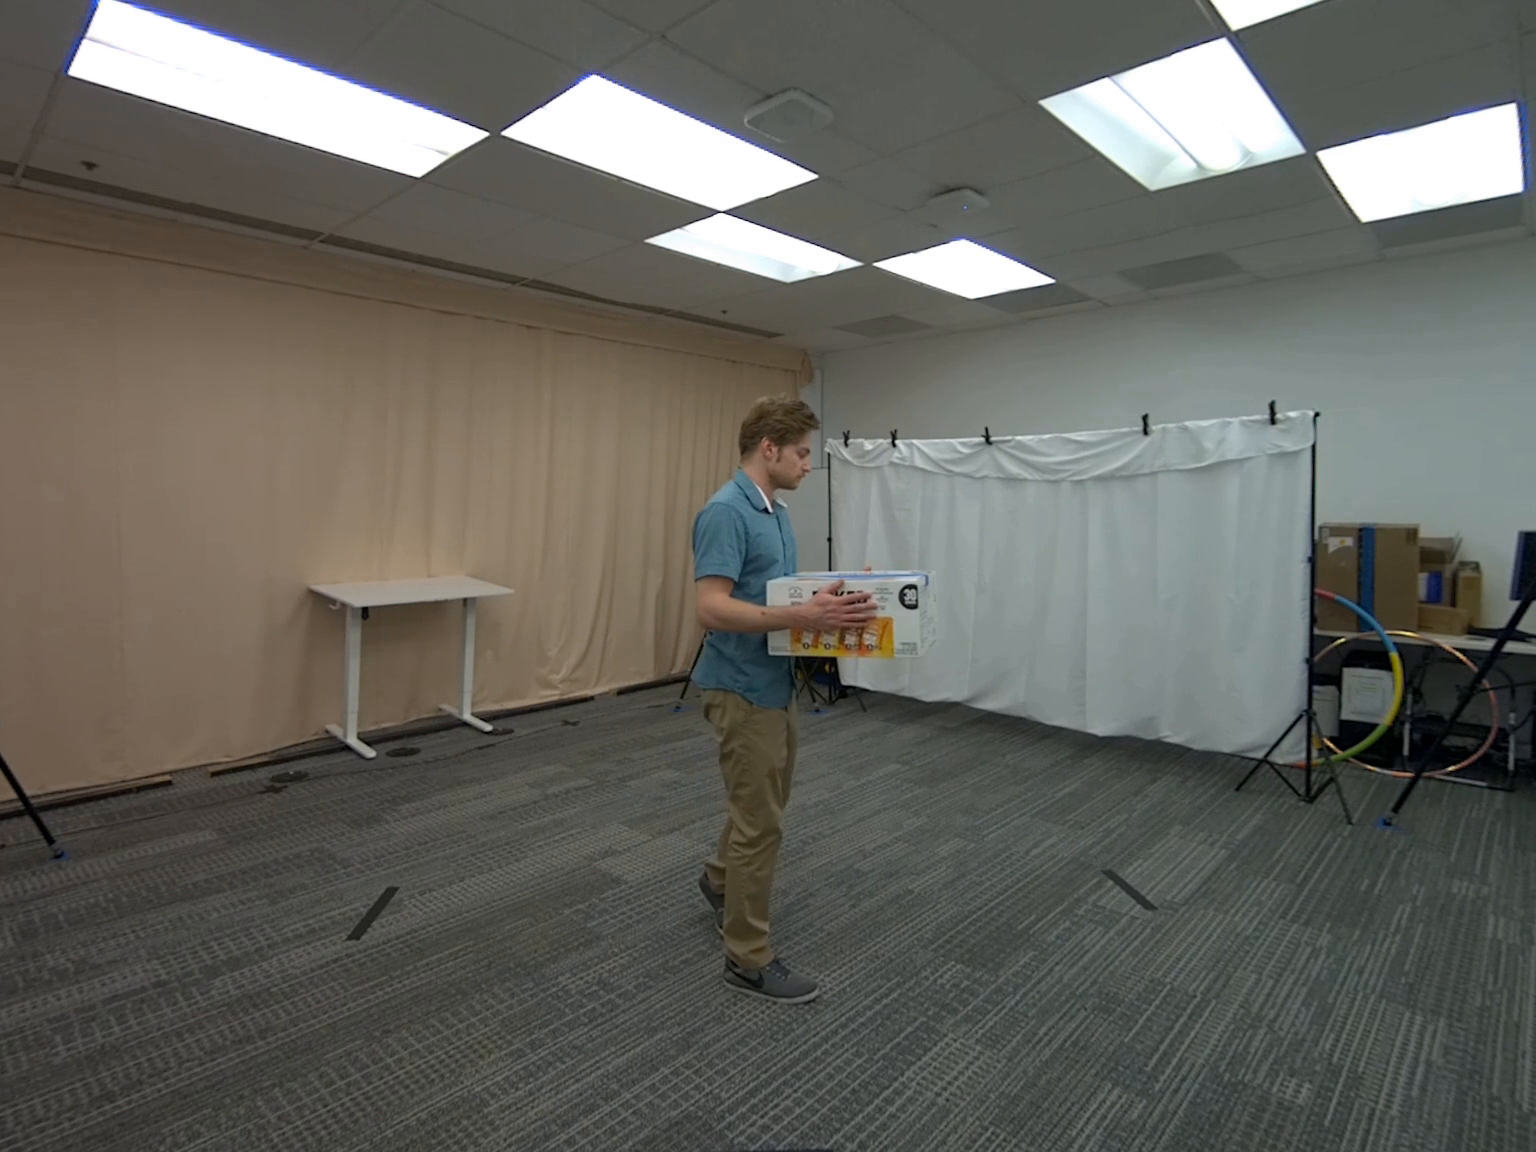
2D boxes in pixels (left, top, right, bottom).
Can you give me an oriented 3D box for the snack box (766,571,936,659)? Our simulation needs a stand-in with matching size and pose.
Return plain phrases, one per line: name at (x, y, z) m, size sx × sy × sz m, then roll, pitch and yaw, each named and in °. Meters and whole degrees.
snack box at (0.256, 0.102, 2.345) m, size 0.413 × 0.205 × 0.334 m, roll -1°, pitch 3°, yaw 20°
